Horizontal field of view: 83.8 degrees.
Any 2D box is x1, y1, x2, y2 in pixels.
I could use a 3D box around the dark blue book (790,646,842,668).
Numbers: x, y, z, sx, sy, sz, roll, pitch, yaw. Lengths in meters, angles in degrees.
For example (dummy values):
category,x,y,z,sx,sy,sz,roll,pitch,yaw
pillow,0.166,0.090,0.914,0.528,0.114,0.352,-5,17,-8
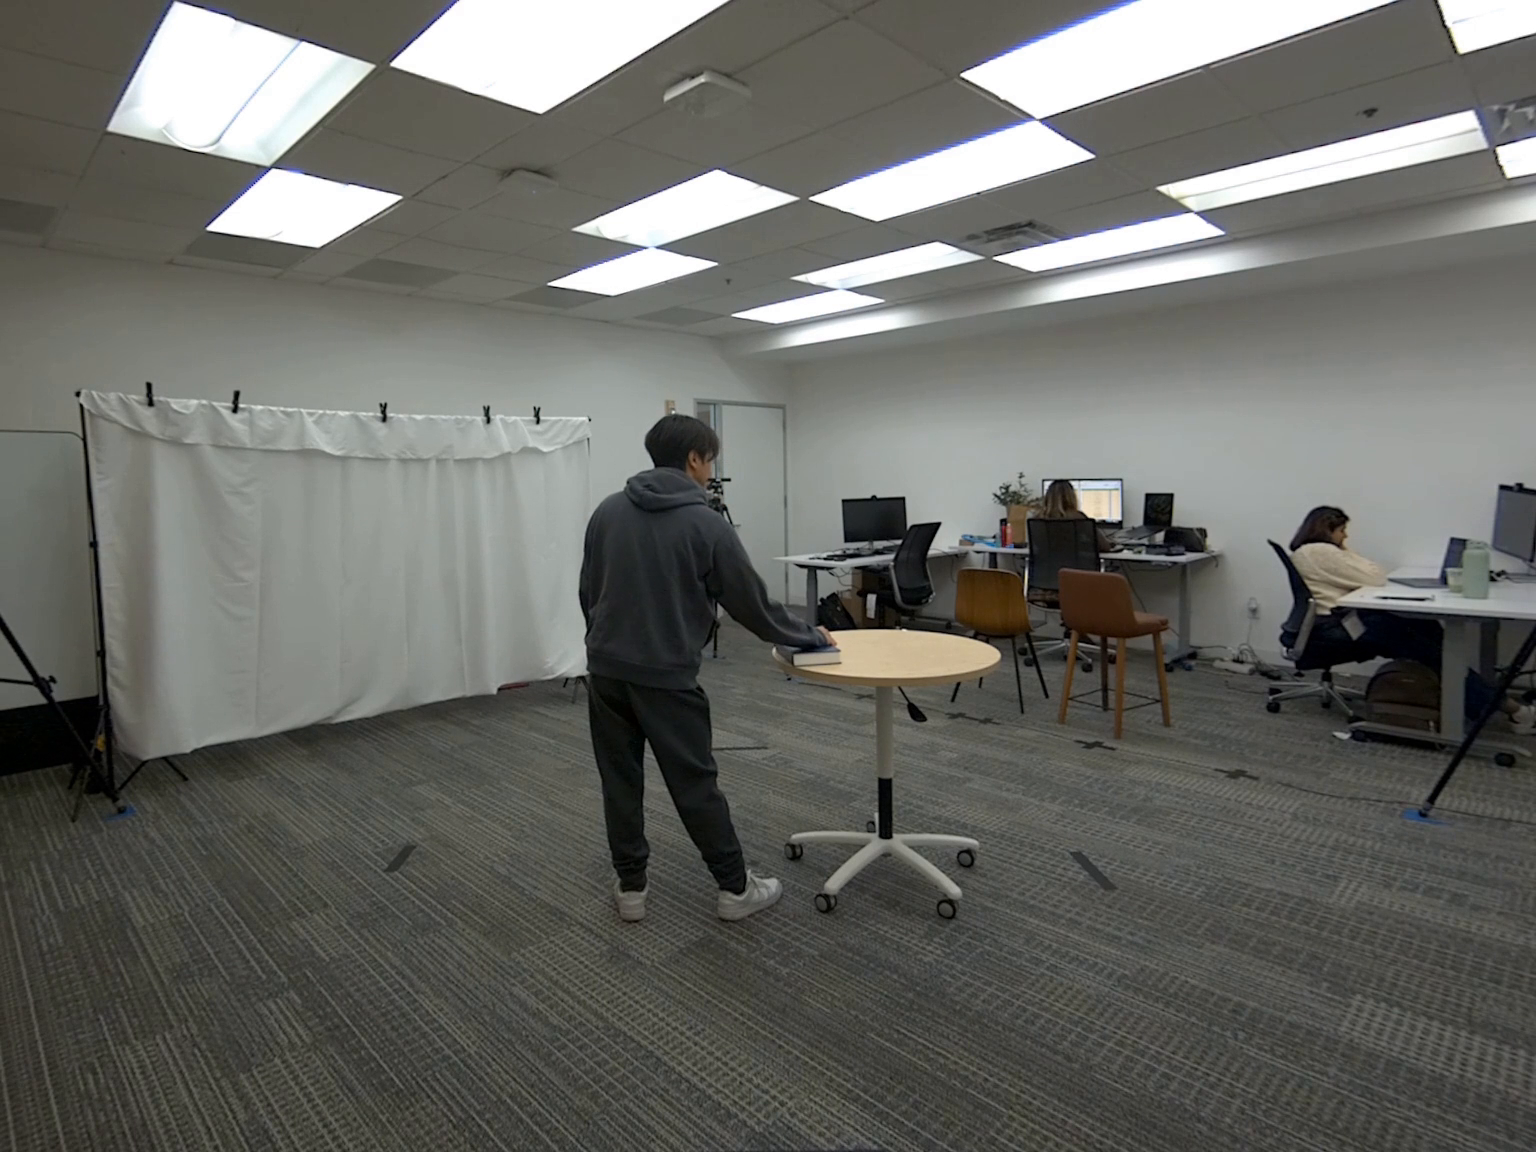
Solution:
category,x,y,z,sx,sy,sz,roll,pitch,yaw
dark blue book,0.136,0.252,2.860,0.162,0.045,0.249,-3,7,-11
